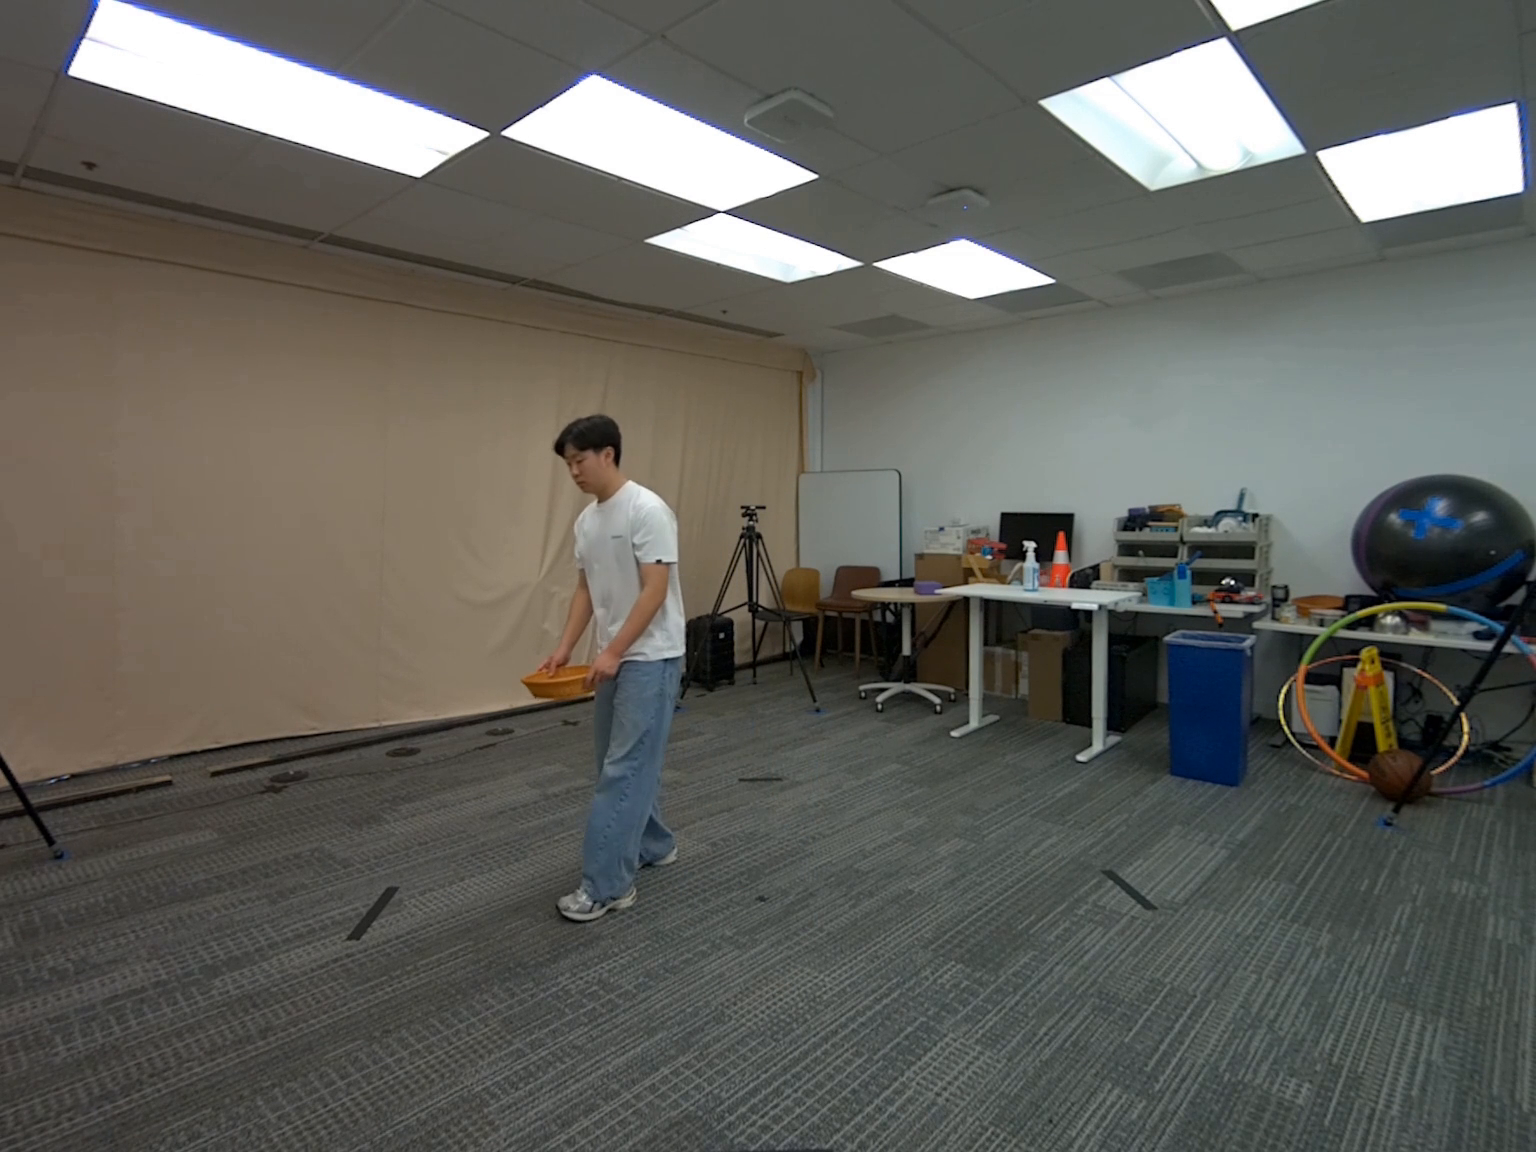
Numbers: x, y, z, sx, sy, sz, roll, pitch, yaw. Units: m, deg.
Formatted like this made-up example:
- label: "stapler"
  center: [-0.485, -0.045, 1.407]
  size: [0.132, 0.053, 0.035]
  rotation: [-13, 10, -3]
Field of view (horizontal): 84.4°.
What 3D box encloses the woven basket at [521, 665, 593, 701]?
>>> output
- label: "woven basket"
  center: [-0.718, 0.381, 2.959]
  size: [0.245, 0.073, 0.361]
  rotation: [-10, 3, -44]
